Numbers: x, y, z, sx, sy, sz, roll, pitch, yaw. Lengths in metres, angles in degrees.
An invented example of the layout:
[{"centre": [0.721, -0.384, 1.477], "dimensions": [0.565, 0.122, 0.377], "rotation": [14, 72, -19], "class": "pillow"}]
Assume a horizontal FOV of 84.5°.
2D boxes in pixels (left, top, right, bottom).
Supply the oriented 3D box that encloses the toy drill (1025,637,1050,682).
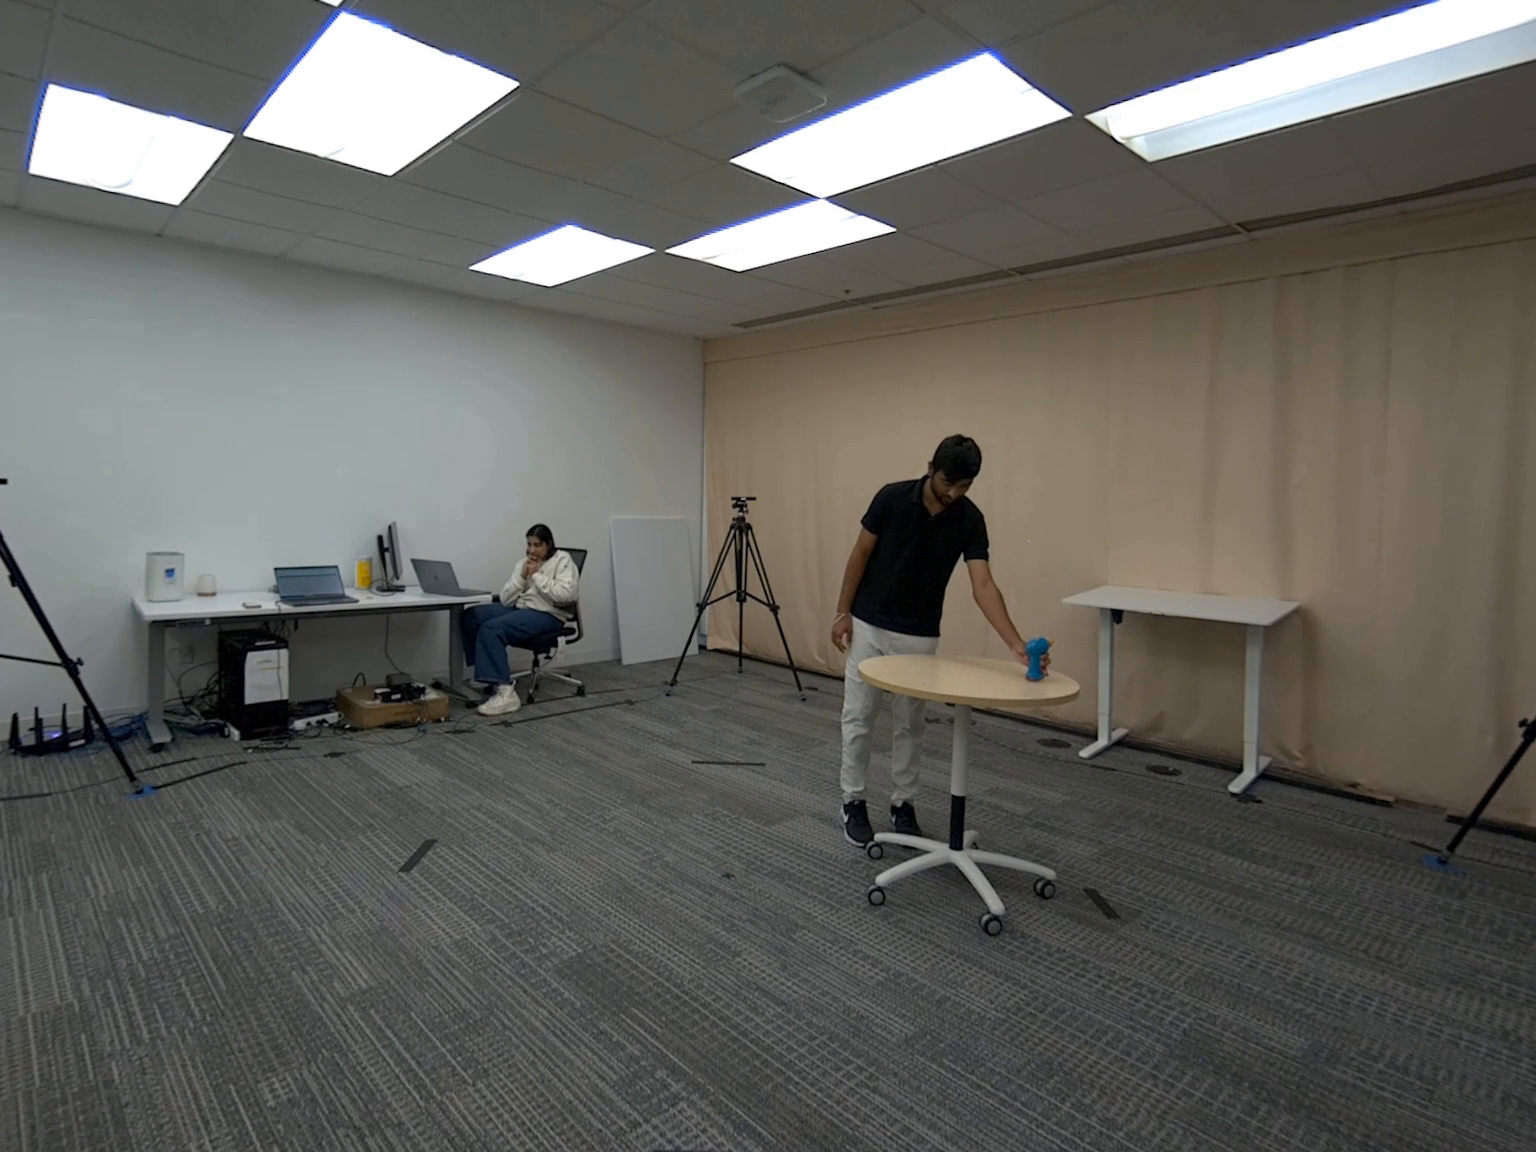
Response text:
[{"centre": [0.946, 0.282, 2.979], "dimensions": [0.062, 0.145, 0.167], "rotation": [0, 9, 43], "class": "toy drill"}]
